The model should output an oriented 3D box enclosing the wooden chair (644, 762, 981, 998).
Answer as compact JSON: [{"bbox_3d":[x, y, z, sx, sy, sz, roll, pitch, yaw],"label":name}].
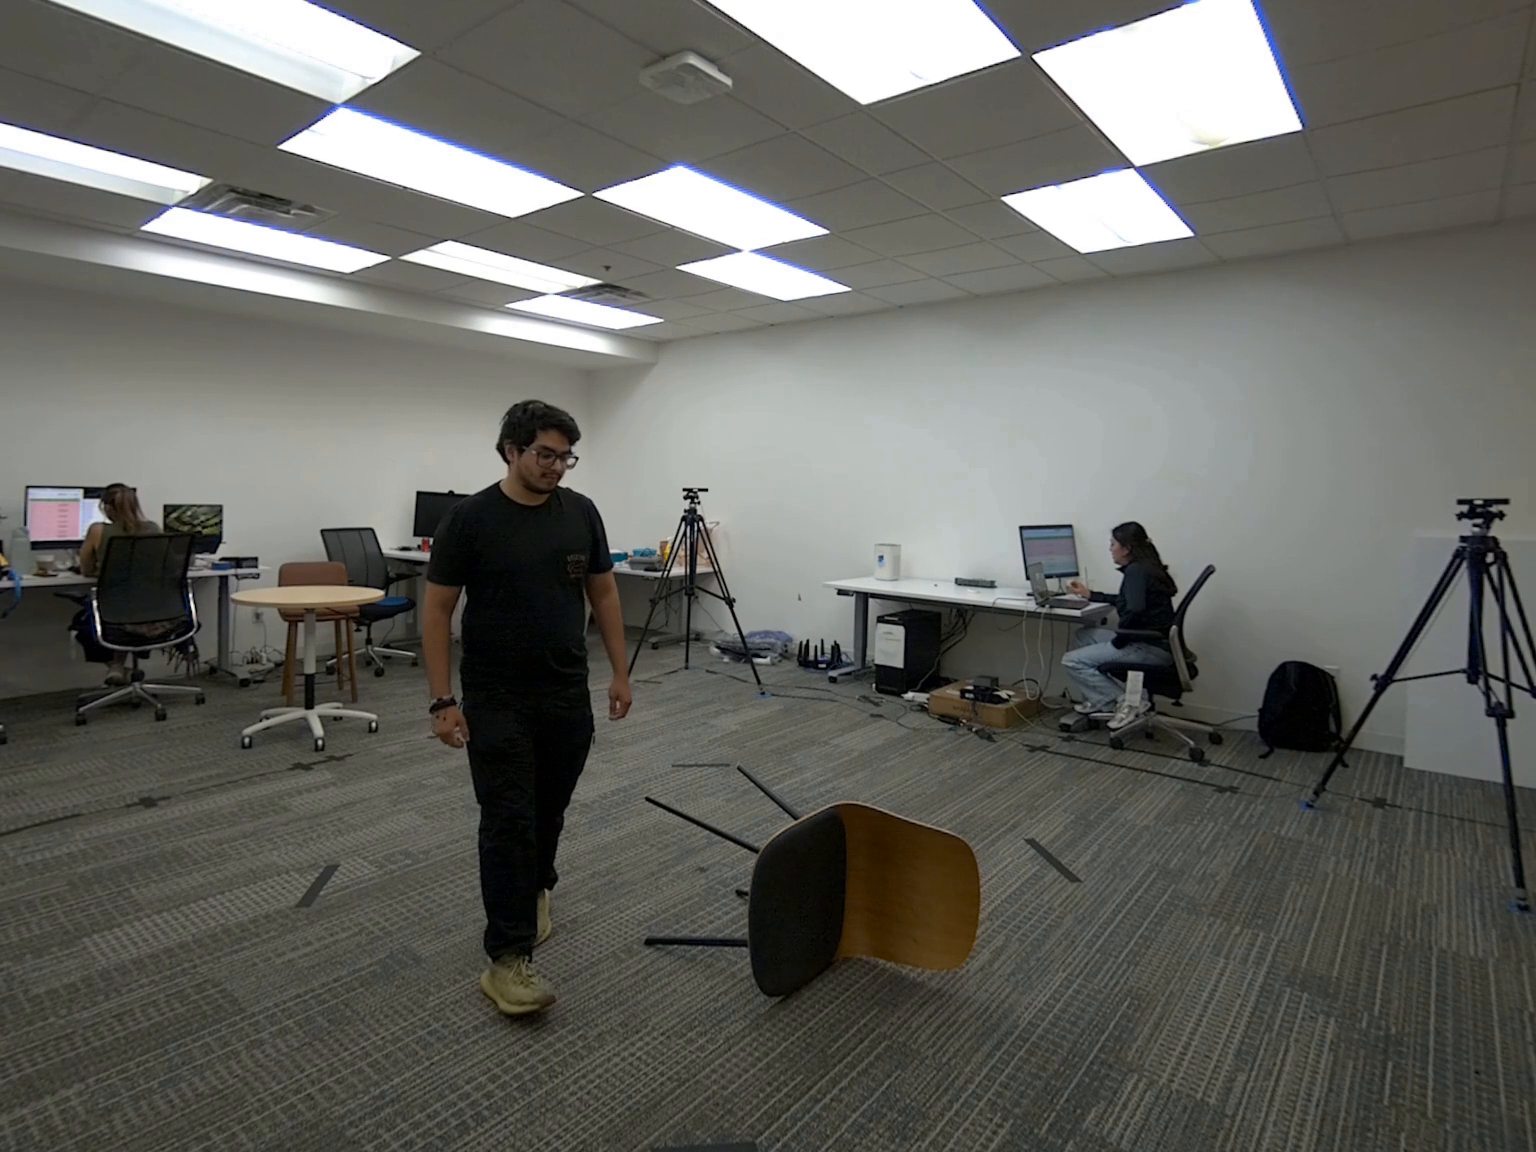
[{"bbox_3d":[0.092,0.911,2.461,0.905,0.477,0.508,4,5,35],"label":"wooden chair"}]
